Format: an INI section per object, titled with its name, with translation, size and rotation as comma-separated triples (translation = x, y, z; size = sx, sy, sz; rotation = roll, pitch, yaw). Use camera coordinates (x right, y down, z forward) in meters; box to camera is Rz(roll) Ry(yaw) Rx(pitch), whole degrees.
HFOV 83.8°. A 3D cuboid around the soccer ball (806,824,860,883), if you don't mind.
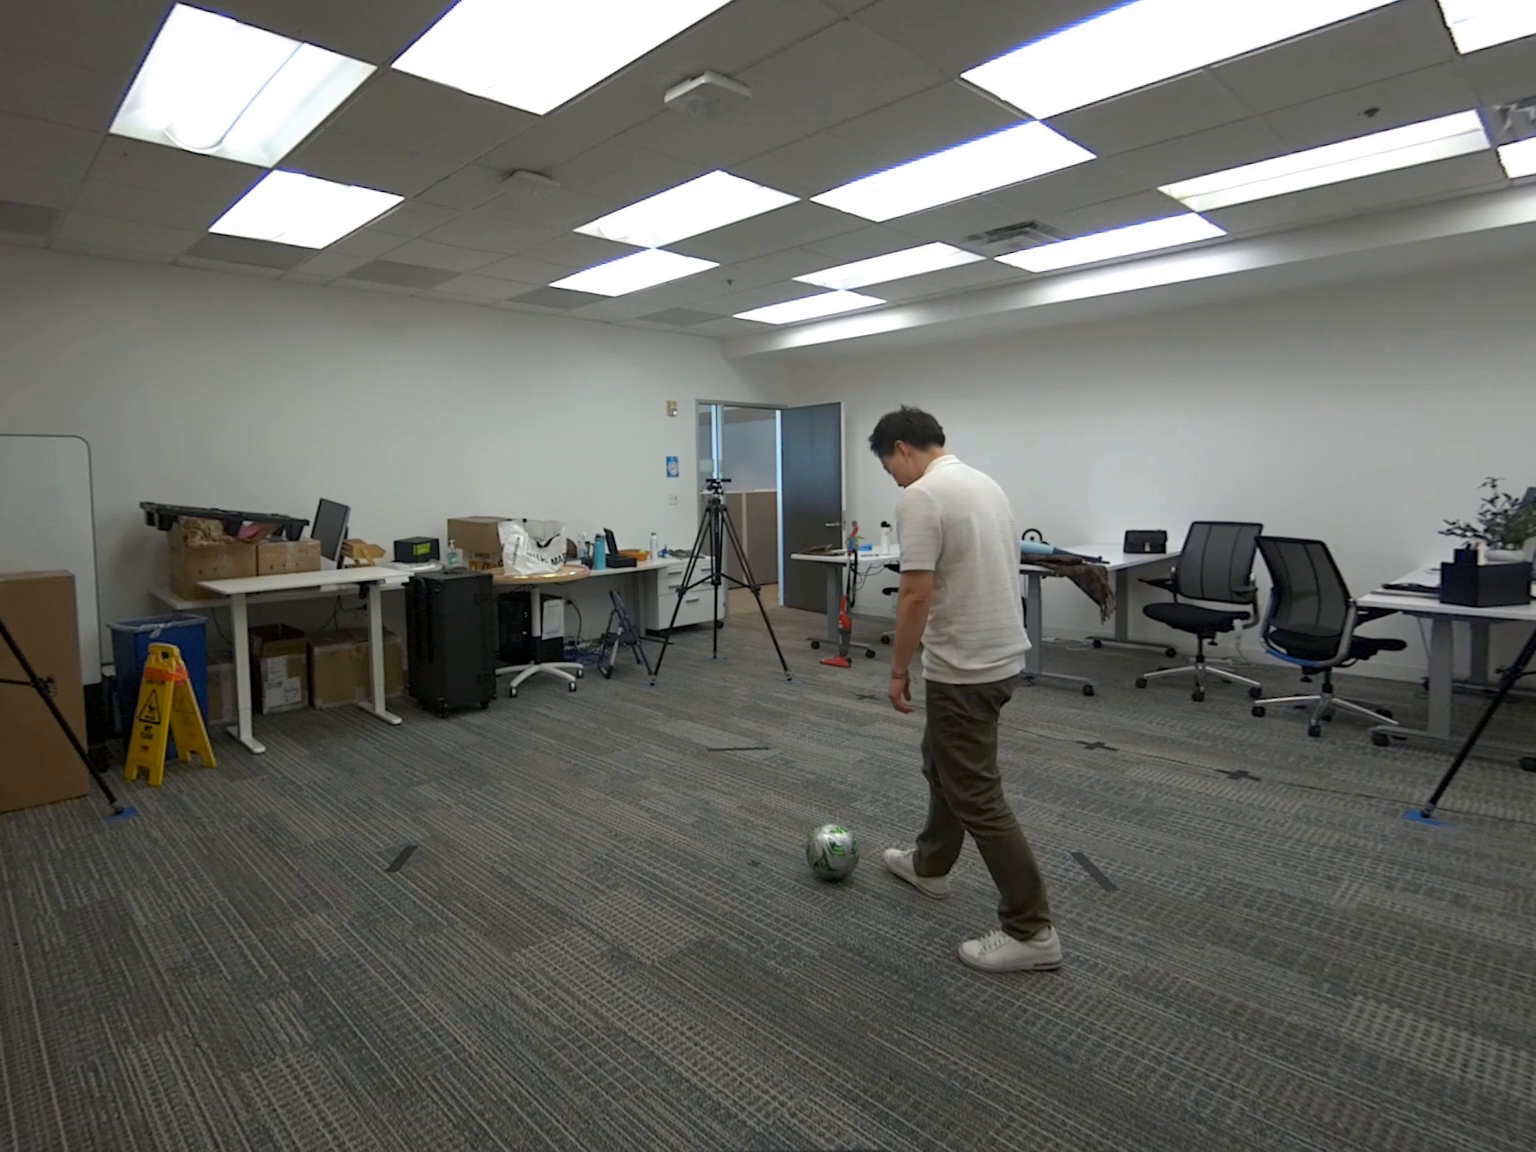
[soccer ball]
translation = 0.225, 0.961, 2.982
size = 0.187, 0.187, 0.188
rotation = -1, 5, -2
